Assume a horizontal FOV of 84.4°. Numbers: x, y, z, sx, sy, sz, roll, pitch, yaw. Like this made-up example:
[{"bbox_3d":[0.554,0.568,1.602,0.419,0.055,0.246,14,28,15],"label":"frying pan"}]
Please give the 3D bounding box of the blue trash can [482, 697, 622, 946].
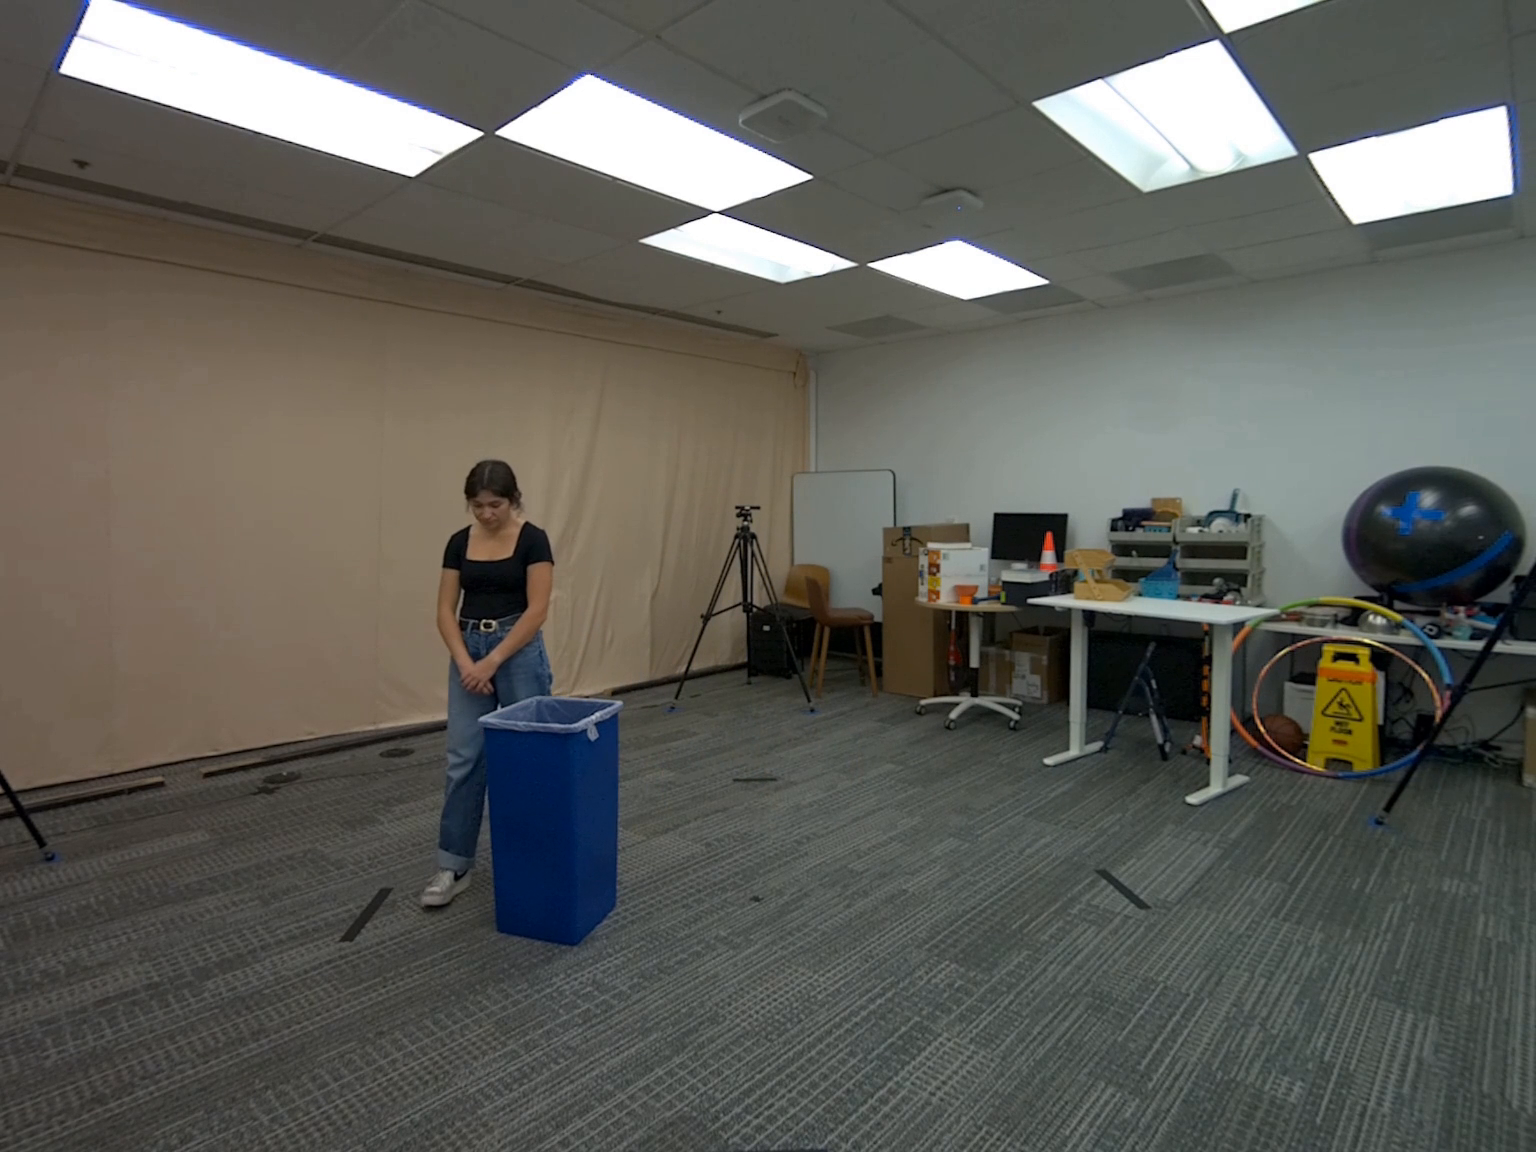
[{"bbox_3d":[-0.721,0.805,2.837,0.381,0.712,0.371,1,3,18],"label":"blue trash can"}]
